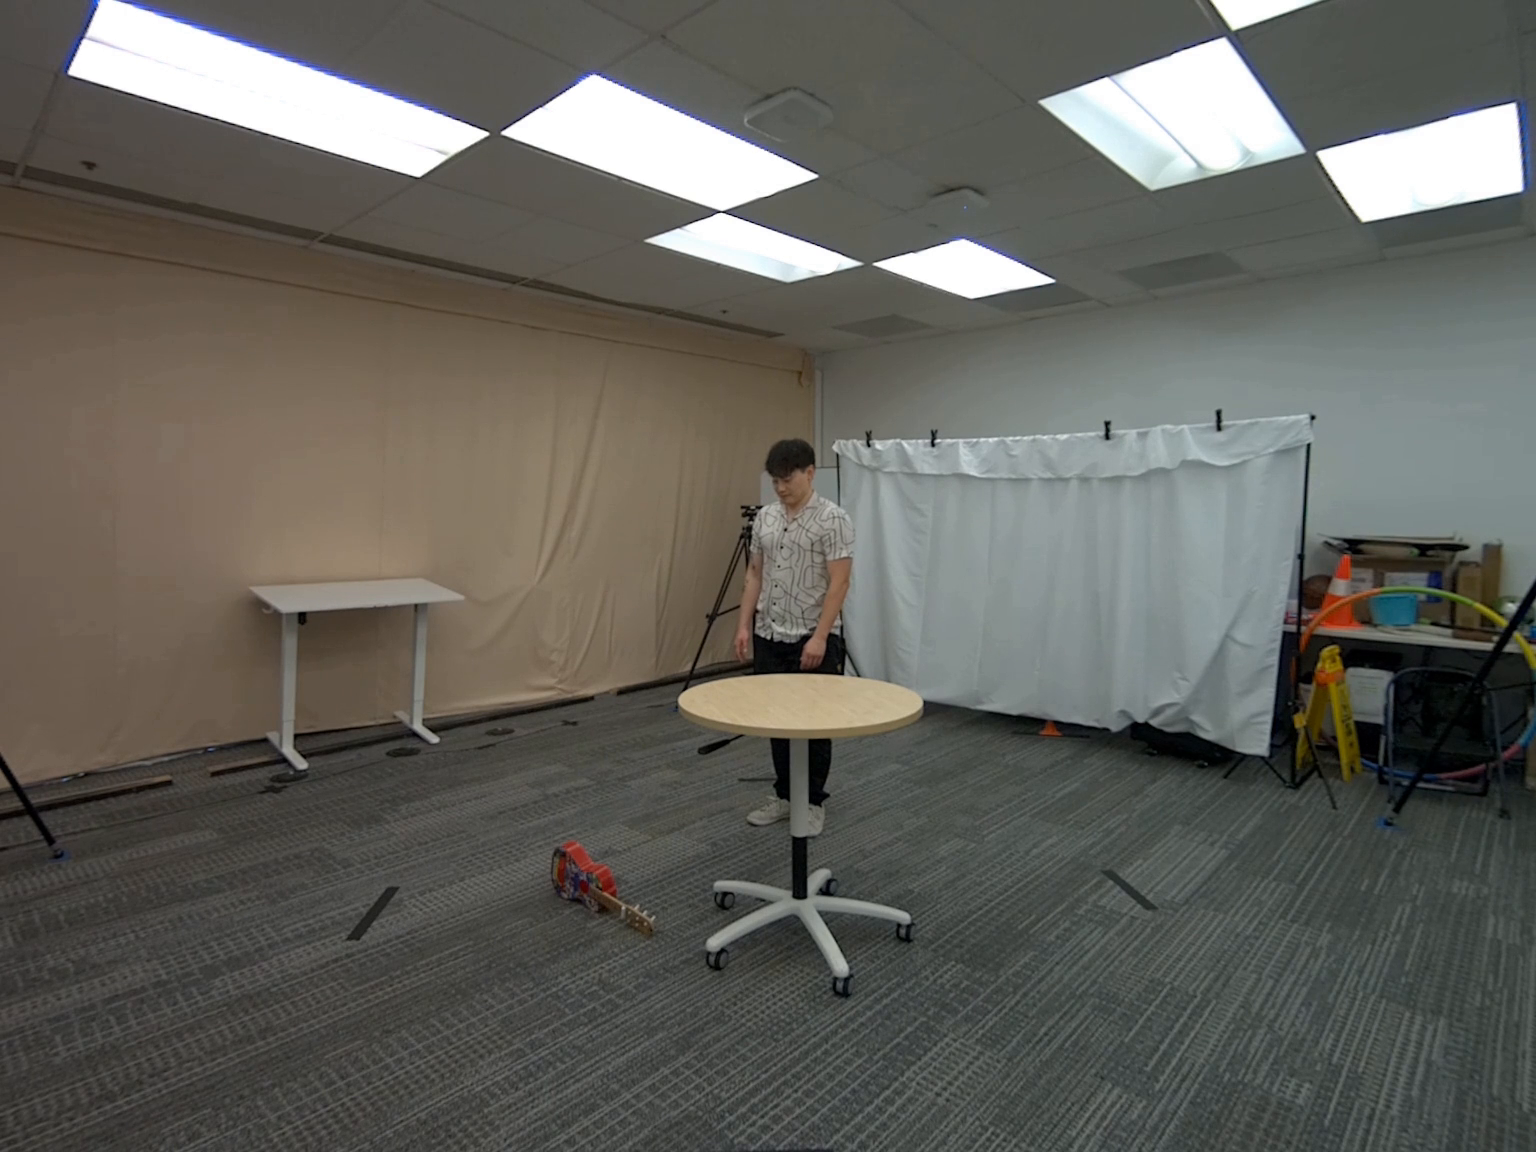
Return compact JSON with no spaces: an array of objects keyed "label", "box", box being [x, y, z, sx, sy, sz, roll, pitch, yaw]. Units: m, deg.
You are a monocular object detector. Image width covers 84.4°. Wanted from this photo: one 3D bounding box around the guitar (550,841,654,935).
[{"label":"guitar","box":[-0.566,1.108,2.901,0.515,0.192,0.069,24,20,33]}]
